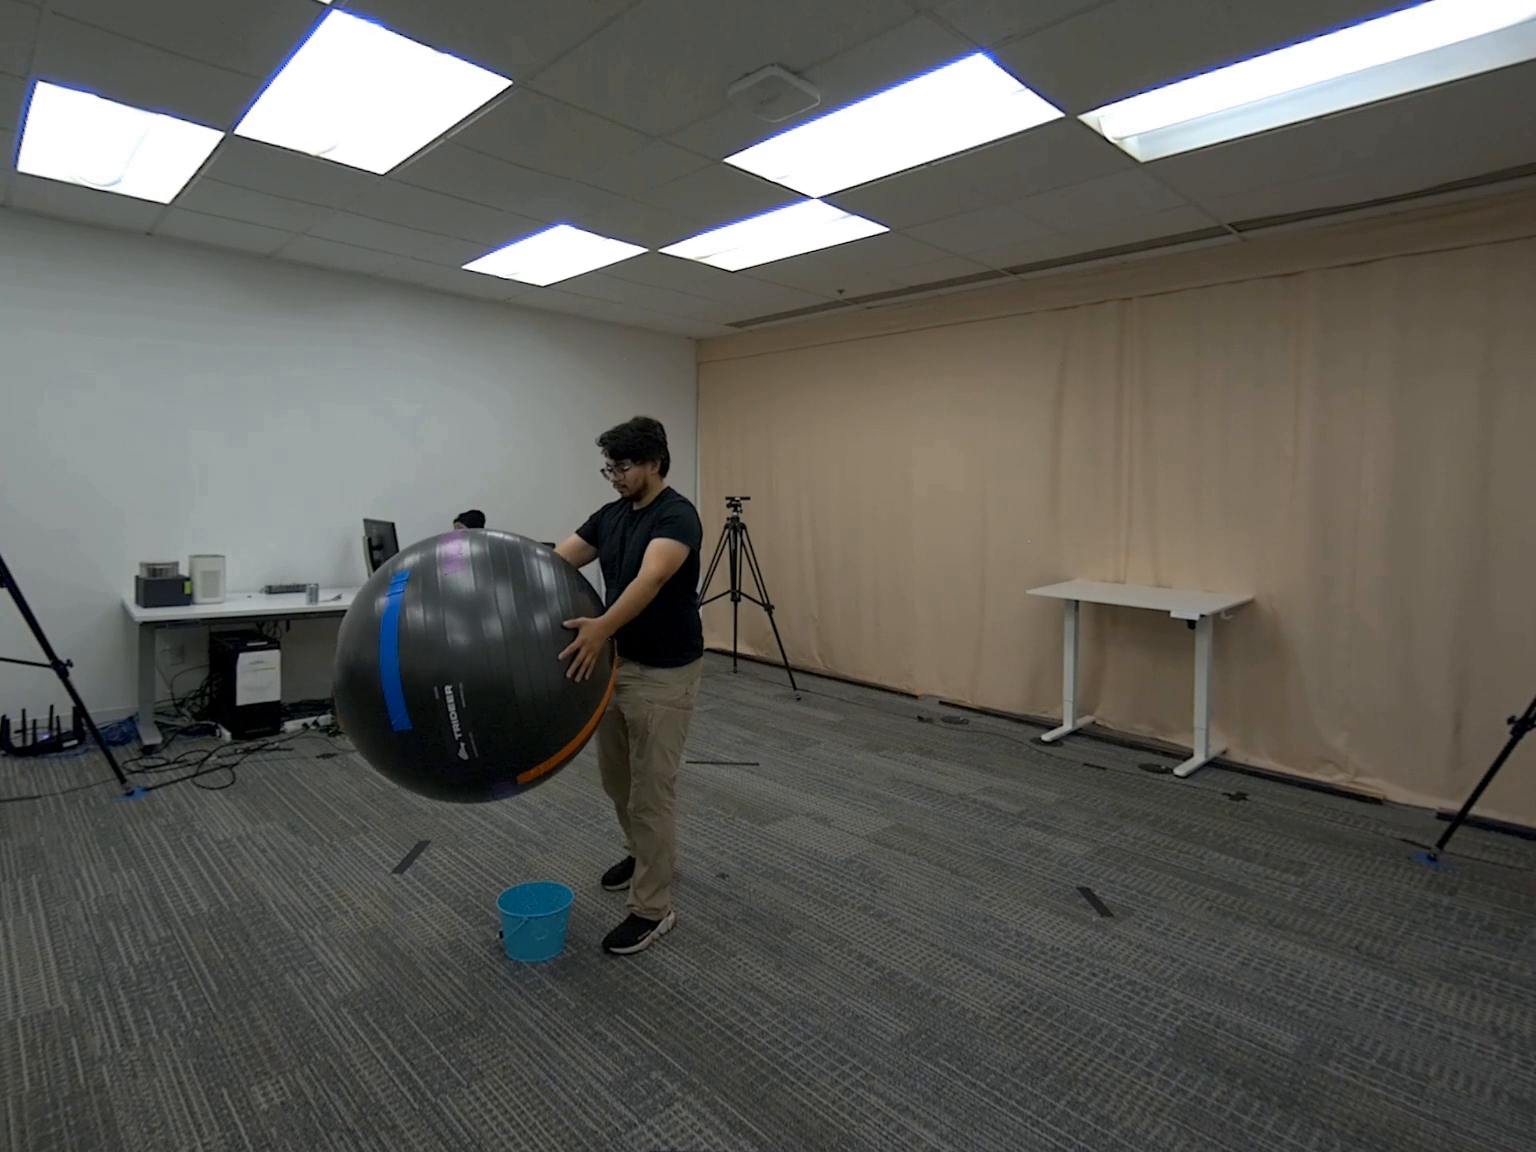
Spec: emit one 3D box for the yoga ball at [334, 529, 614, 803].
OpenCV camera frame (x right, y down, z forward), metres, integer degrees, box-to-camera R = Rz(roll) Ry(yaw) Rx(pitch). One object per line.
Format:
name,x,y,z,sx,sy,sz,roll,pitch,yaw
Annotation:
yoga ball,-0.834,0.259,2.373,0.757,0.756,0.761,1,4,-1
